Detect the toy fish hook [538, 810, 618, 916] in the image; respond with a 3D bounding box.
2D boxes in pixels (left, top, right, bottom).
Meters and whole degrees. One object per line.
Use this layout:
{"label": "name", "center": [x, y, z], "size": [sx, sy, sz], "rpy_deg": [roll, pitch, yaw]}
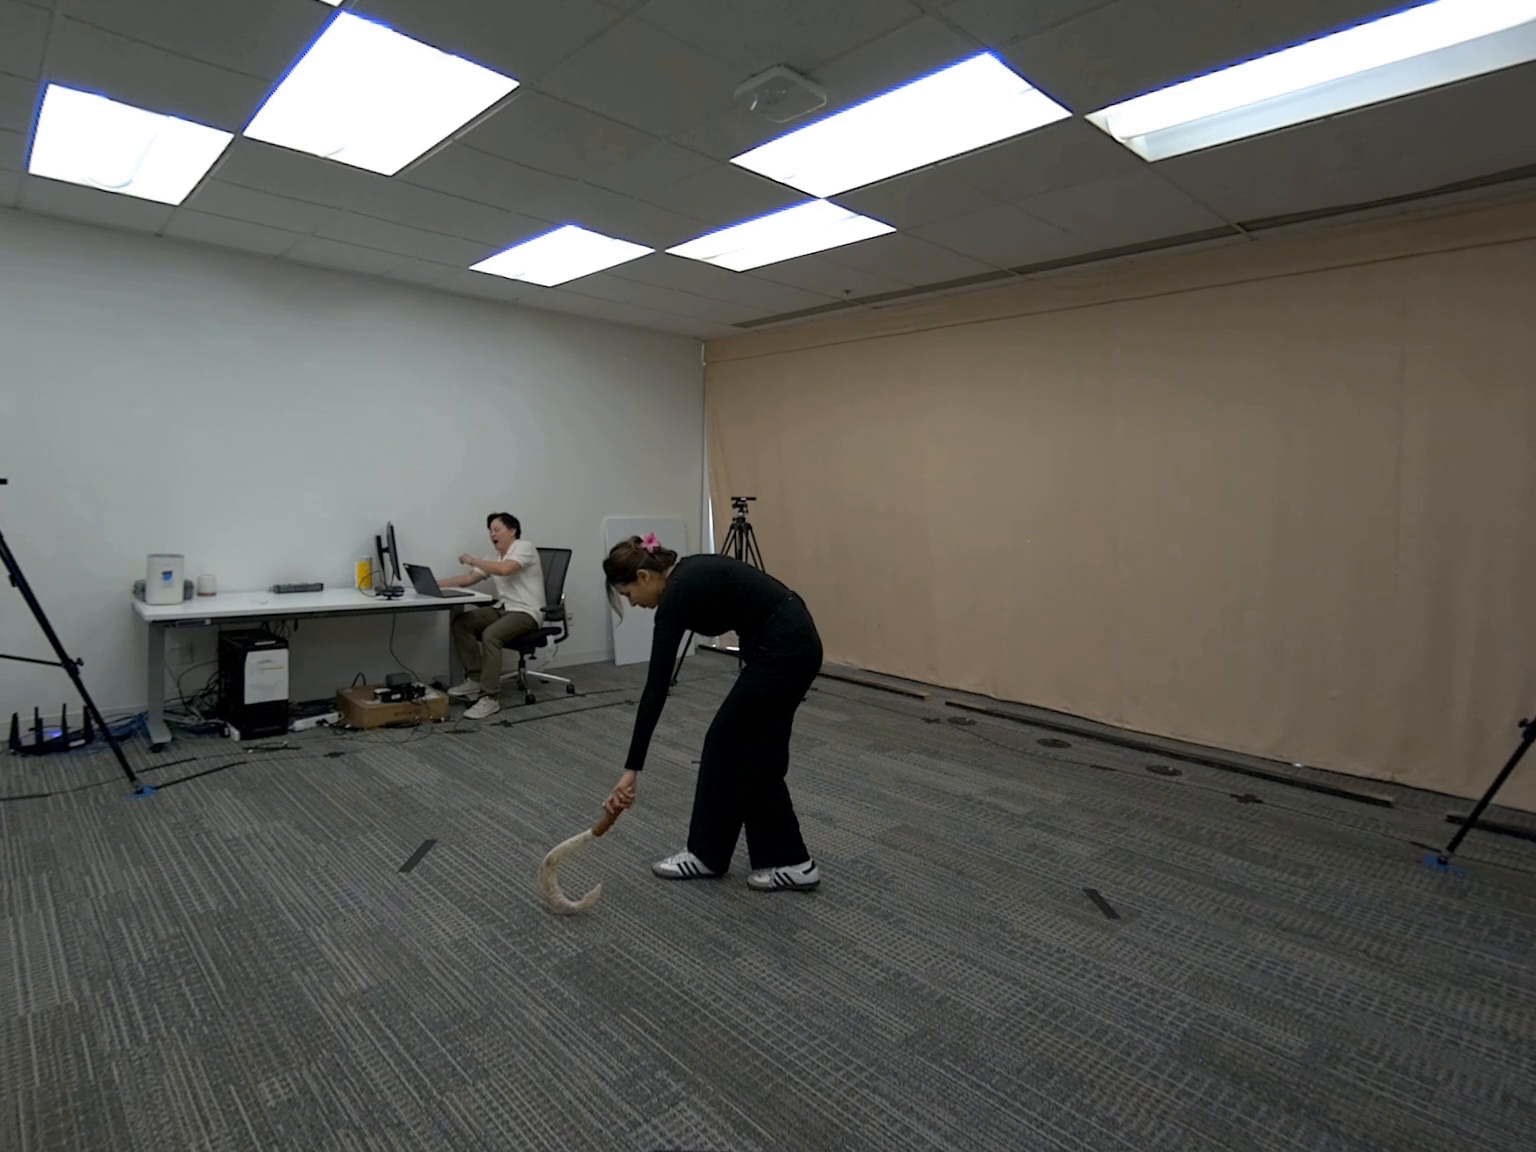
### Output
{"label": "toy fish hook", "center": [-0.570, 0.910, 2.754], "size": [0.228, 0.506, 0.047], "rpy_deg": [44, 15, 13]}
